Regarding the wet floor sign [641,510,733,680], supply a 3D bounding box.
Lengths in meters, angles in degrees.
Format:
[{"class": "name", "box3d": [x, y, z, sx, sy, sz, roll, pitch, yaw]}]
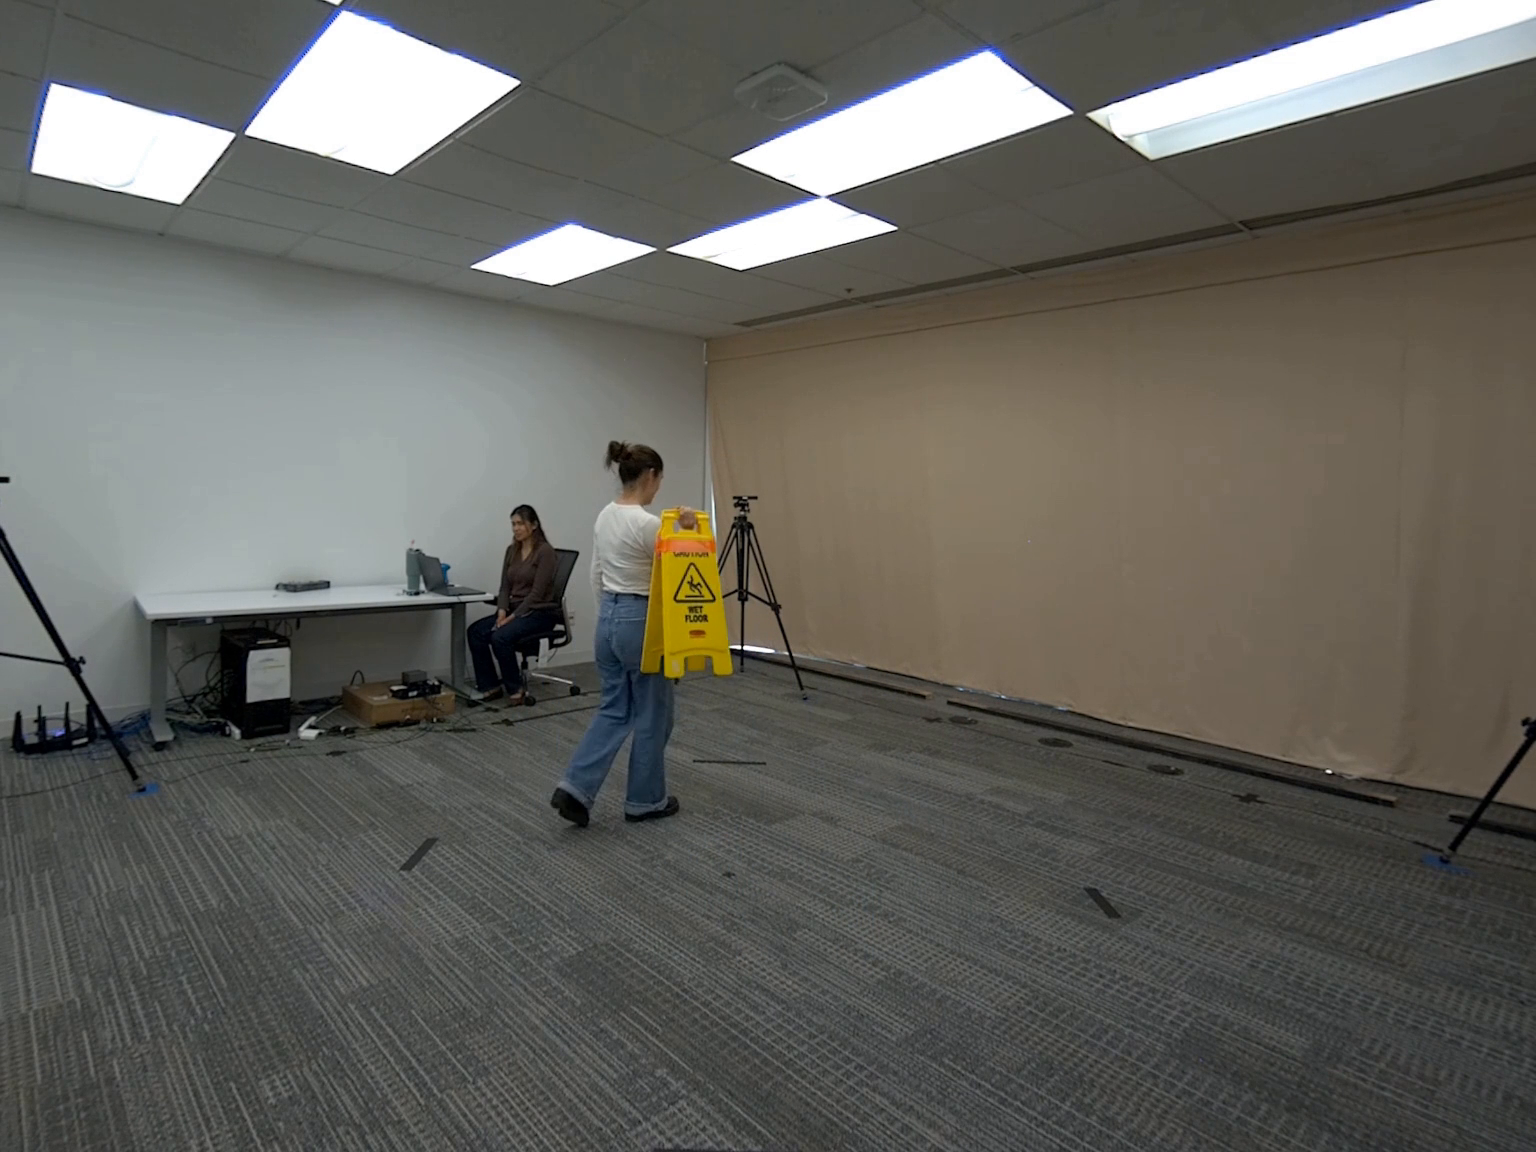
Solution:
[{"class": "wet floor sign", "box3d": [-0.335, 0.060, 3.344, 0.276, 0.648, 0.294, 2, -5, -29]}]
